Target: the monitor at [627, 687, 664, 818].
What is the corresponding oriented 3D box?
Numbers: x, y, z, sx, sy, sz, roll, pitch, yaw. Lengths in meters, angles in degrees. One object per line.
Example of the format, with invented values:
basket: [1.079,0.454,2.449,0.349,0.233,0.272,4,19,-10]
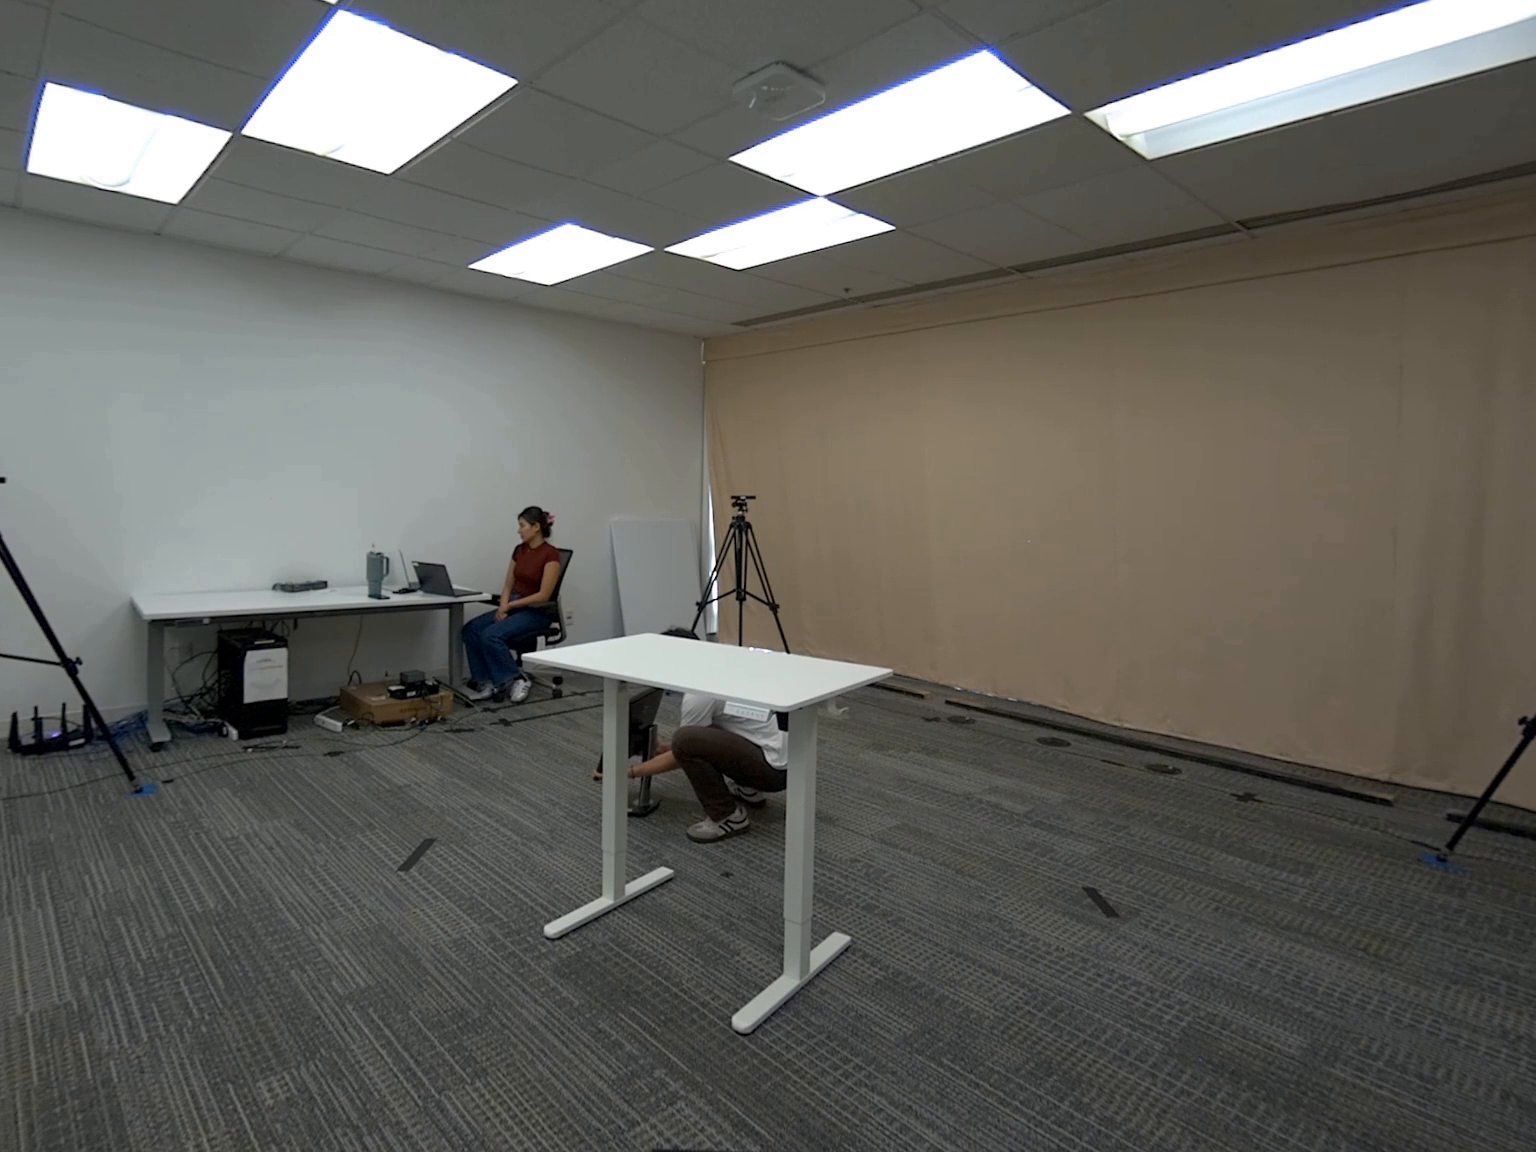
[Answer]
monitor: [-0.581,0.771,3.768,0.189,0.522,0.534,2,2,10]
